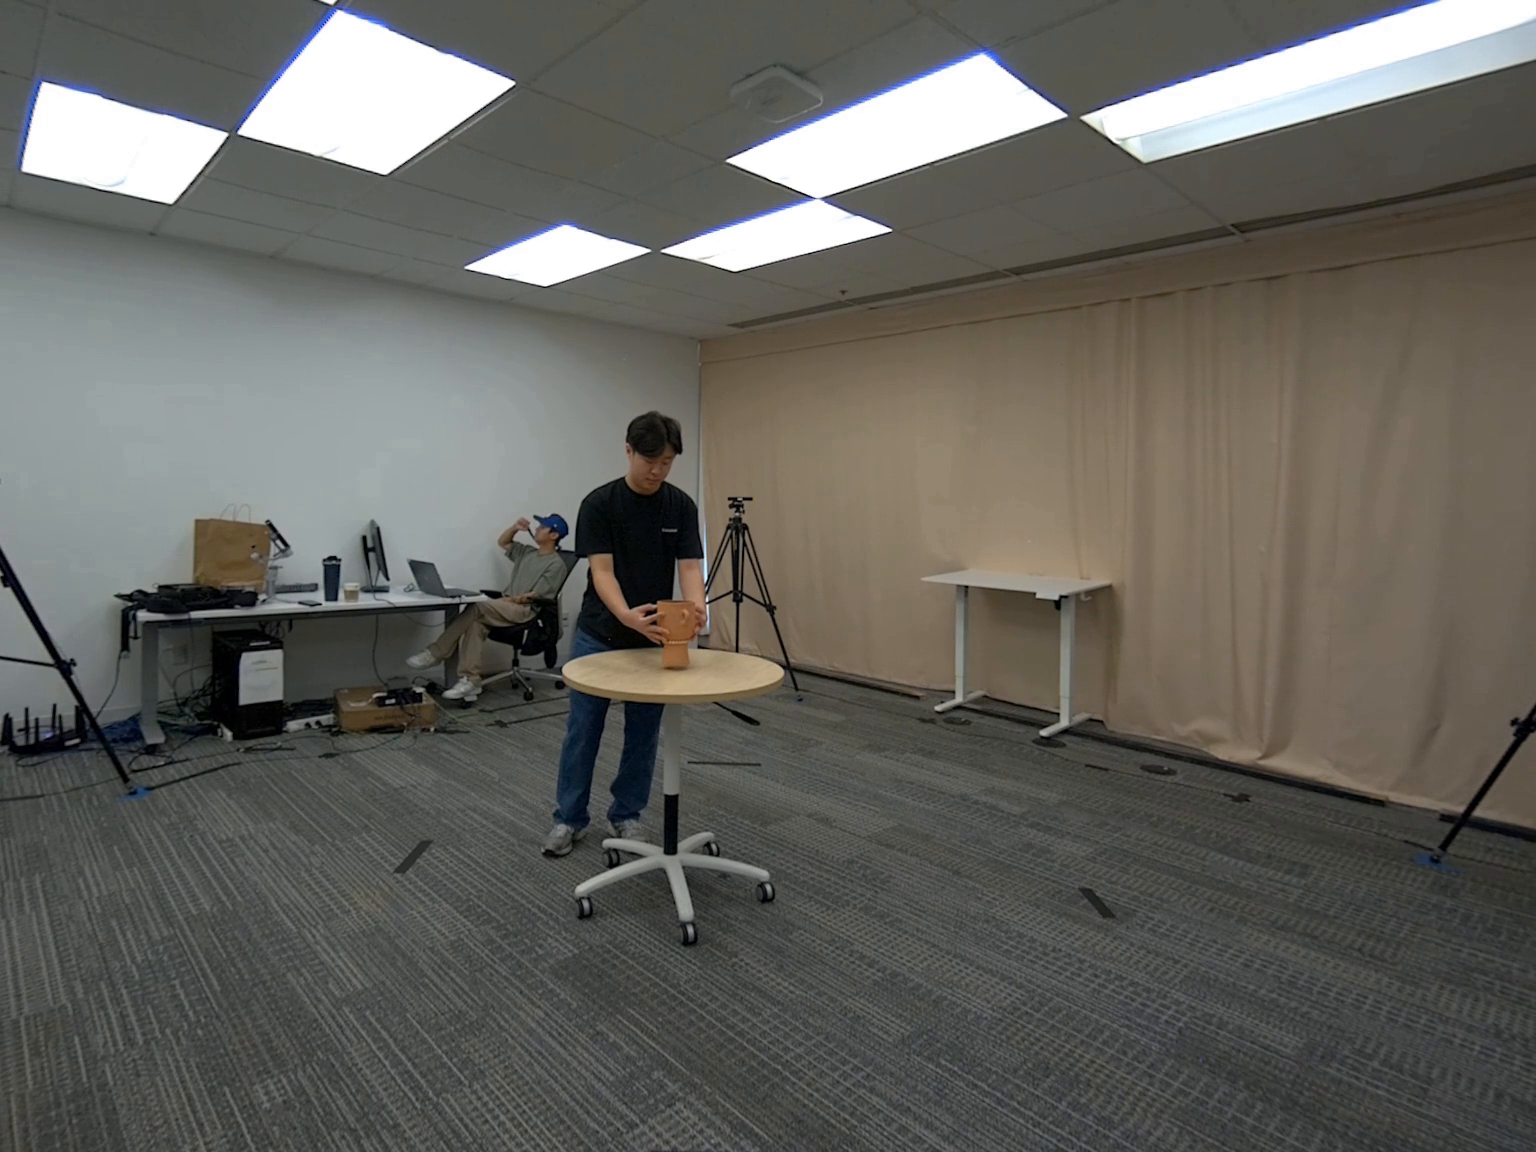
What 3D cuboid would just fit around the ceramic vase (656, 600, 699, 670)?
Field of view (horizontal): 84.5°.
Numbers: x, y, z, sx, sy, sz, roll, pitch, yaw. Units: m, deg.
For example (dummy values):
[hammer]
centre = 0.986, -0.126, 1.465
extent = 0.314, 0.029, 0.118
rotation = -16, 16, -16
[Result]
[ceramic vase]
centre = -0.332, 0.201, 2.917
extent = 0.136, 0.220, 0.157
rotation = 0, 0, 10
